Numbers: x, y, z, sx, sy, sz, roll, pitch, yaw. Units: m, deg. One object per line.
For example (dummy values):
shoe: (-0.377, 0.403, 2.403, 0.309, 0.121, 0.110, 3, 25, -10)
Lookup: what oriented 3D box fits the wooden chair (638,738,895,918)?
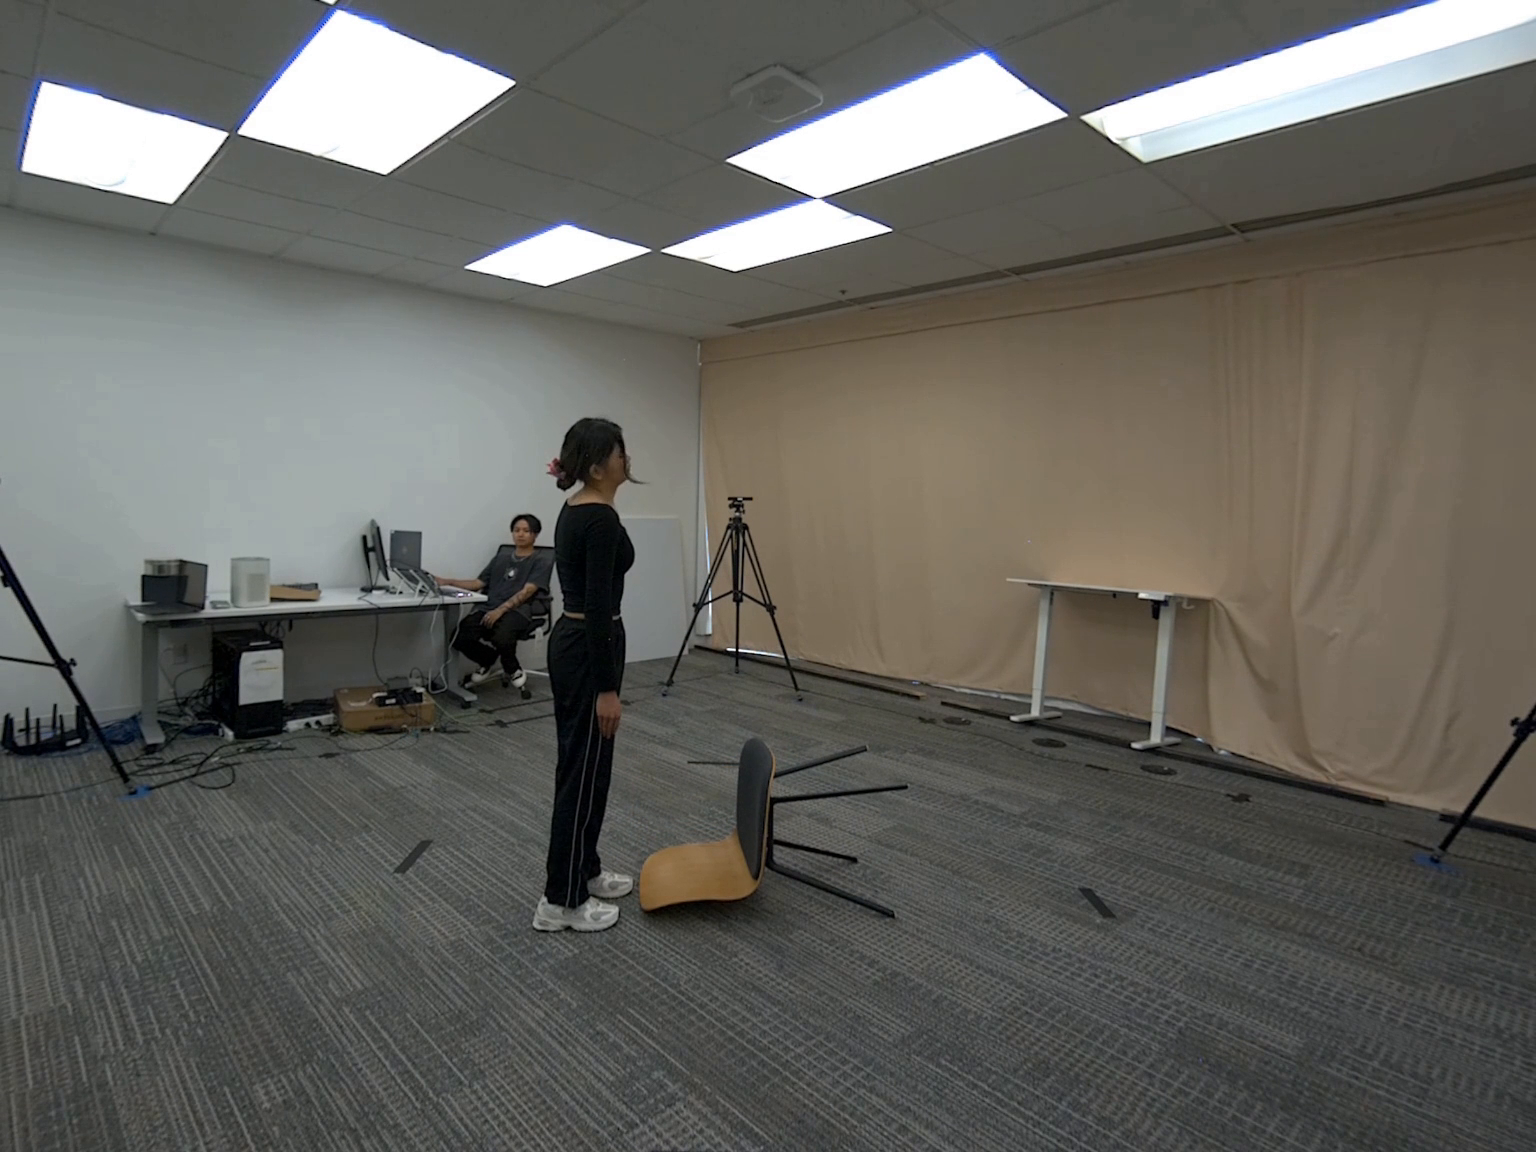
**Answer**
wooden chair: (-0.021, 0.861, 2.961, 0.871, 0.522, 0.482, 0, 4, -9)
